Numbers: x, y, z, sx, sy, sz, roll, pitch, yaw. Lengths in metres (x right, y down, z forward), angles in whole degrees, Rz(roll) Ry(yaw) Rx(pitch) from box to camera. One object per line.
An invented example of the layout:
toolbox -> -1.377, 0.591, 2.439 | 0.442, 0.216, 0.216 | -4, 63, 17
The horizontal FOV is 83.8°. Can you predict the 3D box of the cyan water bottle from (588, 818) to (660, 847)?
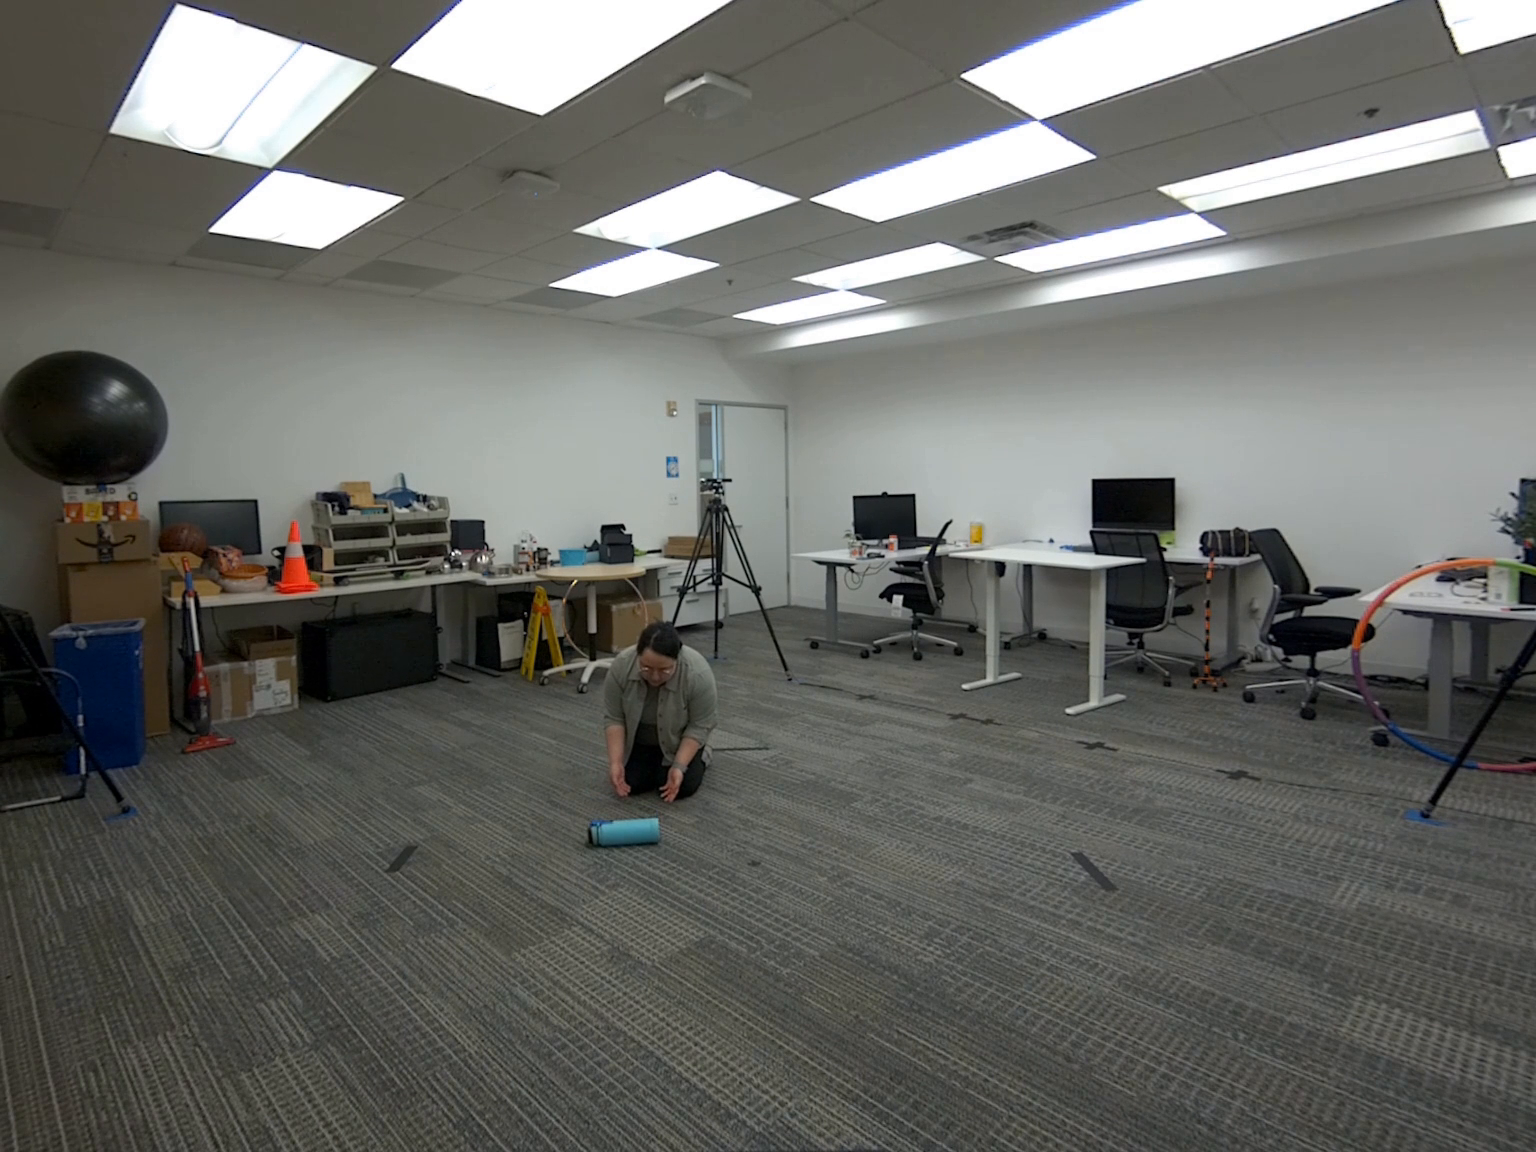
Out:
cyan water bottle -> -0.563, 0.990, 3.294 | 0.282, 0.092, 0.093 | -2, 5, -4
